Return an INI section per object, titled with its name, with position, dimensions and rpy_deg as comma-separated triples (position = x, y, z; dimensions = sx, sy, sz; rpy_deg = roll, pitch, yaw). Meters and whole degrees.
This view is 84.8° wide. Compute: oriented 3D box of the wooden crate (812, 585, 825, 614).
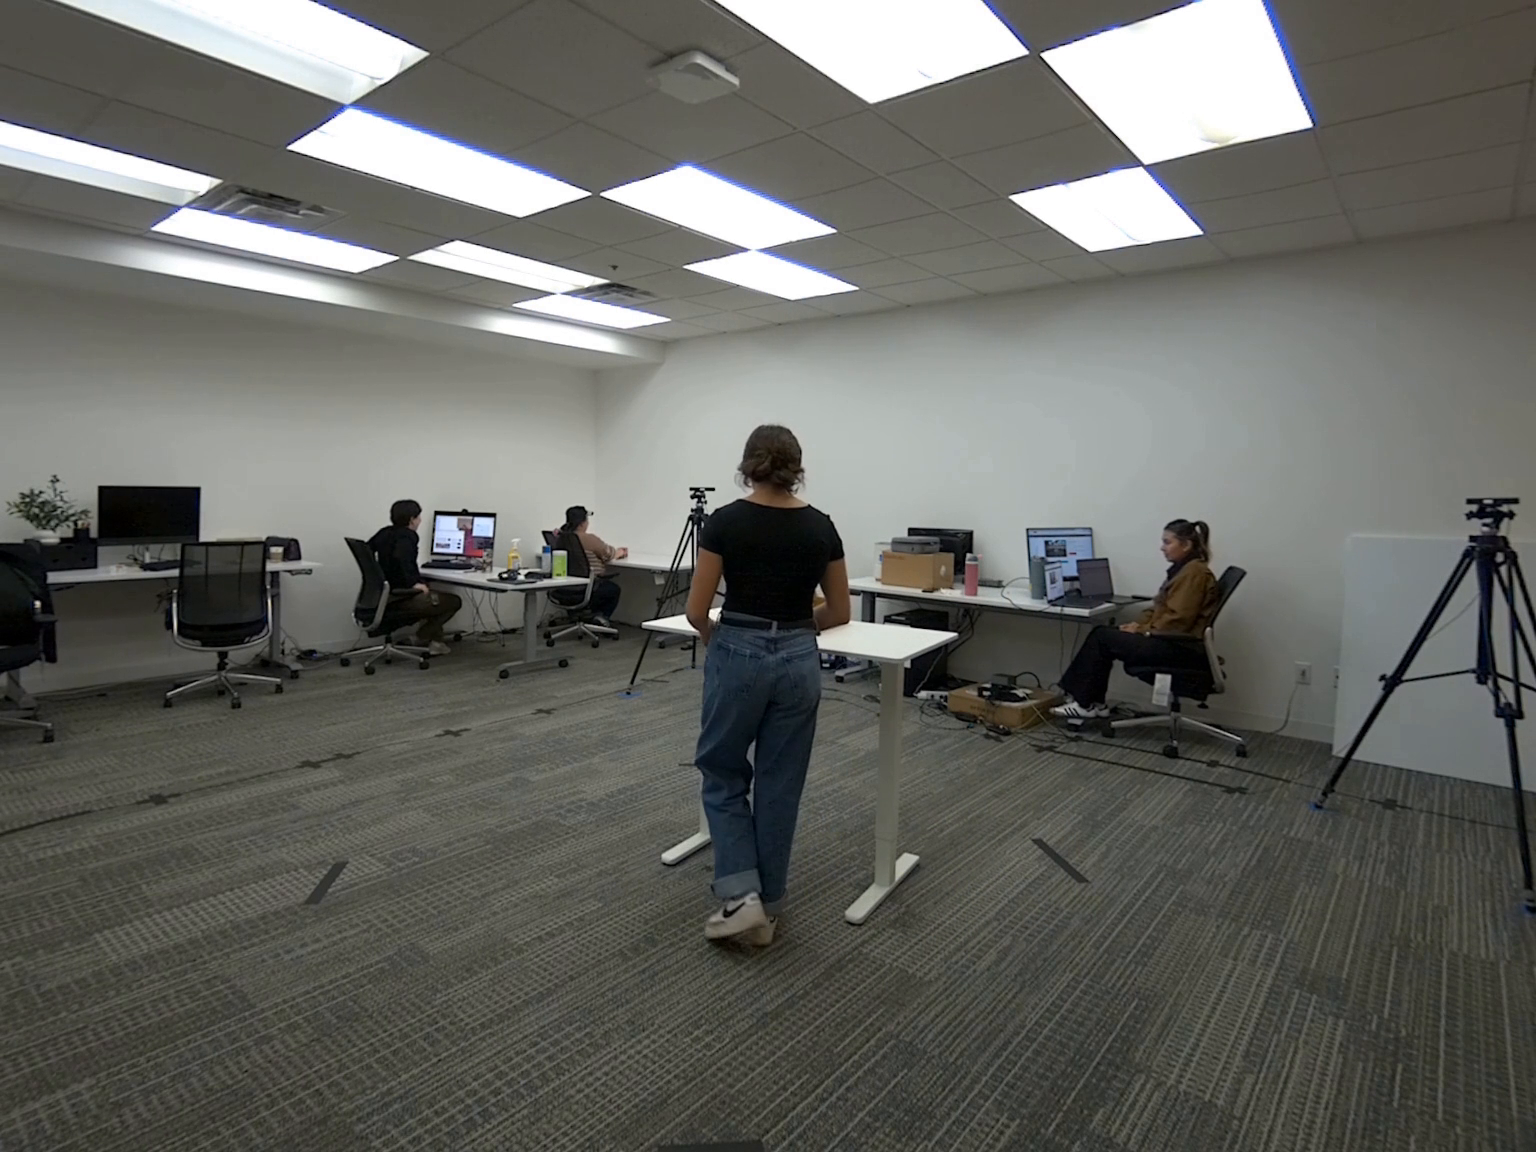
[wooden crate]
position = 0.110, 0.046, 3.211
dimensions = 0.311, 0.272, 0.316
rpy_deg = 3, 5, 29
